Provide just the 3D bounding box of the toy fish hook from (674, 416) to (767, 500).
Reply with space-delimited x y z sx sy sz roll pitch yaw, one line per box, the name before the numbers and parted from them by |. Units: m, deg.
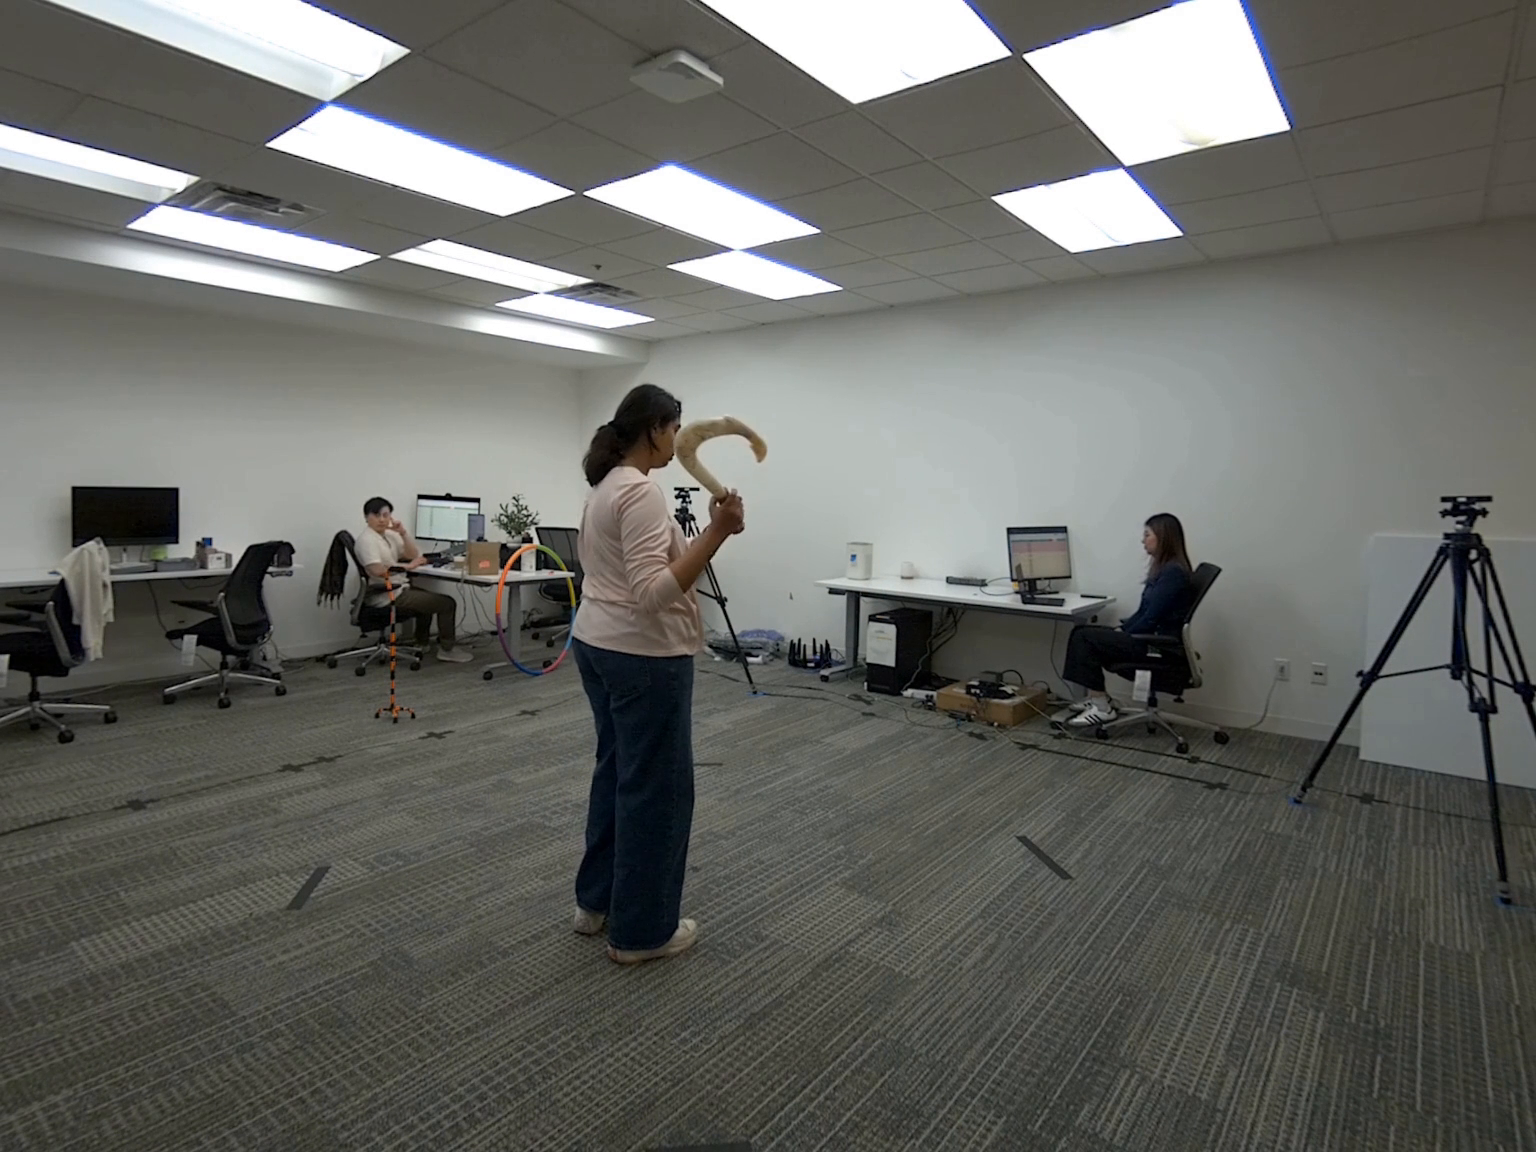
toy fish hook | -0.105 -0.246 2.245 0.227 0.049 0.490 -1 -30 9
